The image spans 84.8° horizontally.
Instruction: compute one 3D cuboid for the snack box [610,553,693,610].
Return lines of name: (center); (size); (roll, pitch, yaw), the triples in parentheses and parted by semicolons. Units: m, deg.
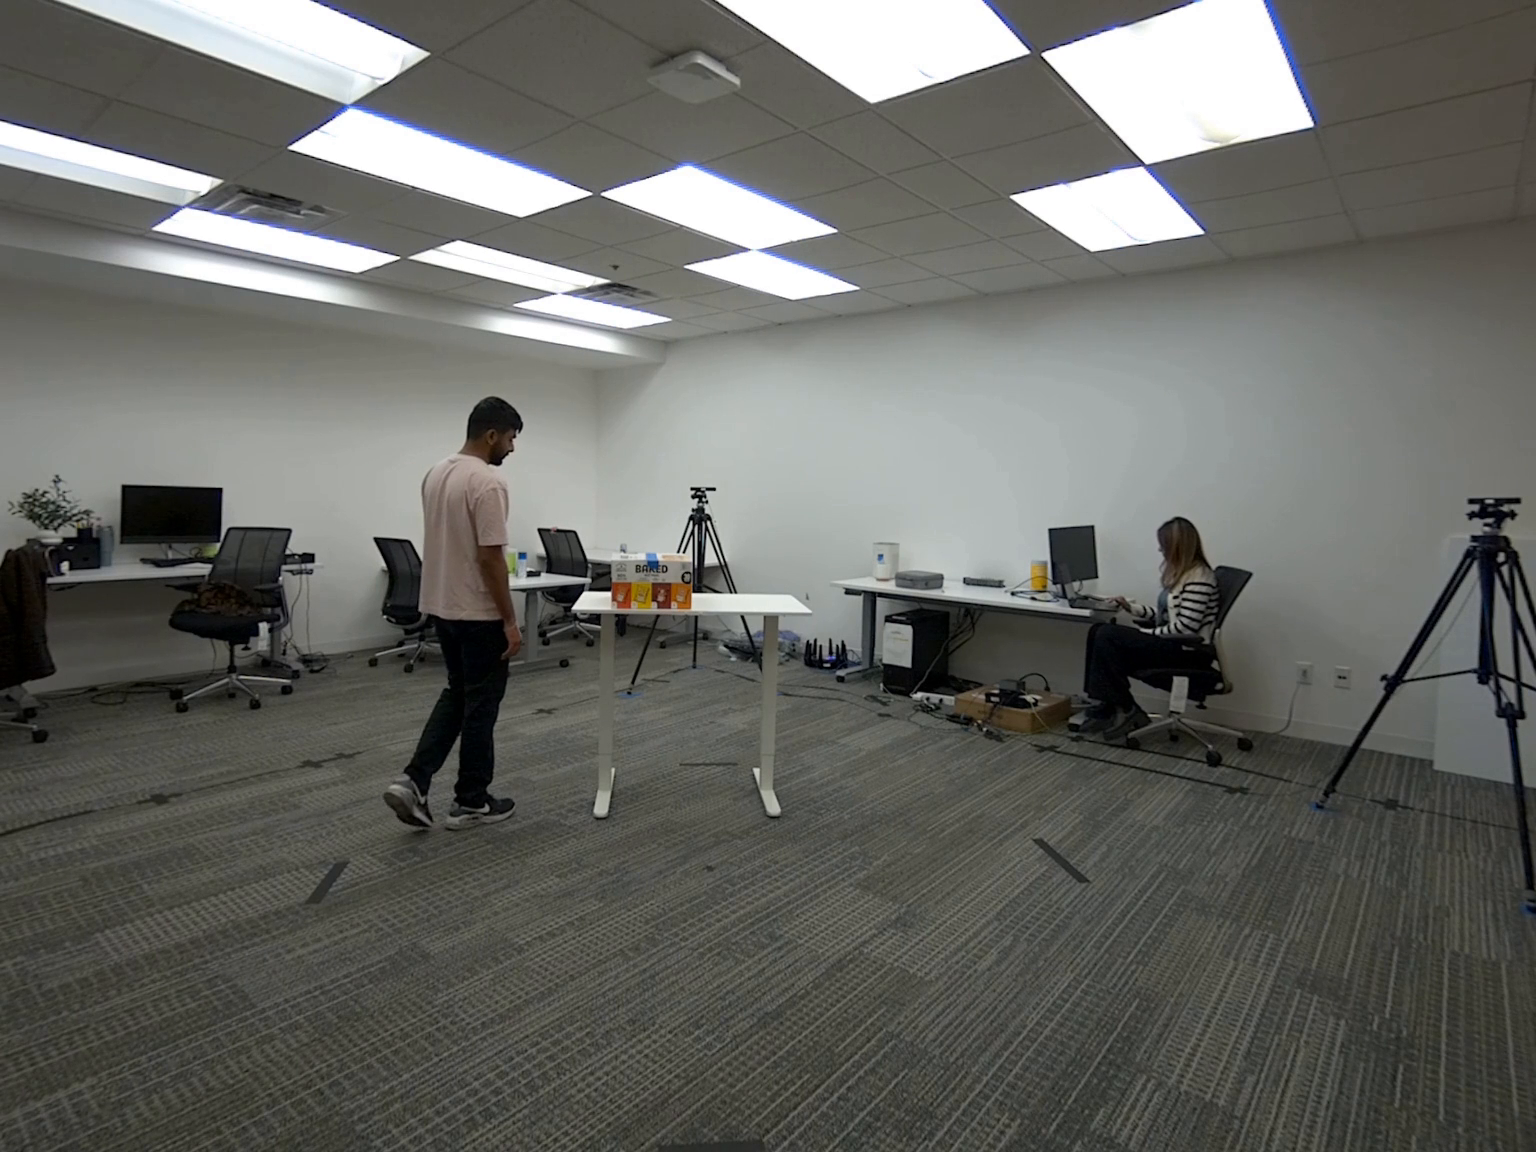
snack box: (-0.532, 0.014, 3.748); (0.337, 0.205, 0.410); (1, 5, -9)
